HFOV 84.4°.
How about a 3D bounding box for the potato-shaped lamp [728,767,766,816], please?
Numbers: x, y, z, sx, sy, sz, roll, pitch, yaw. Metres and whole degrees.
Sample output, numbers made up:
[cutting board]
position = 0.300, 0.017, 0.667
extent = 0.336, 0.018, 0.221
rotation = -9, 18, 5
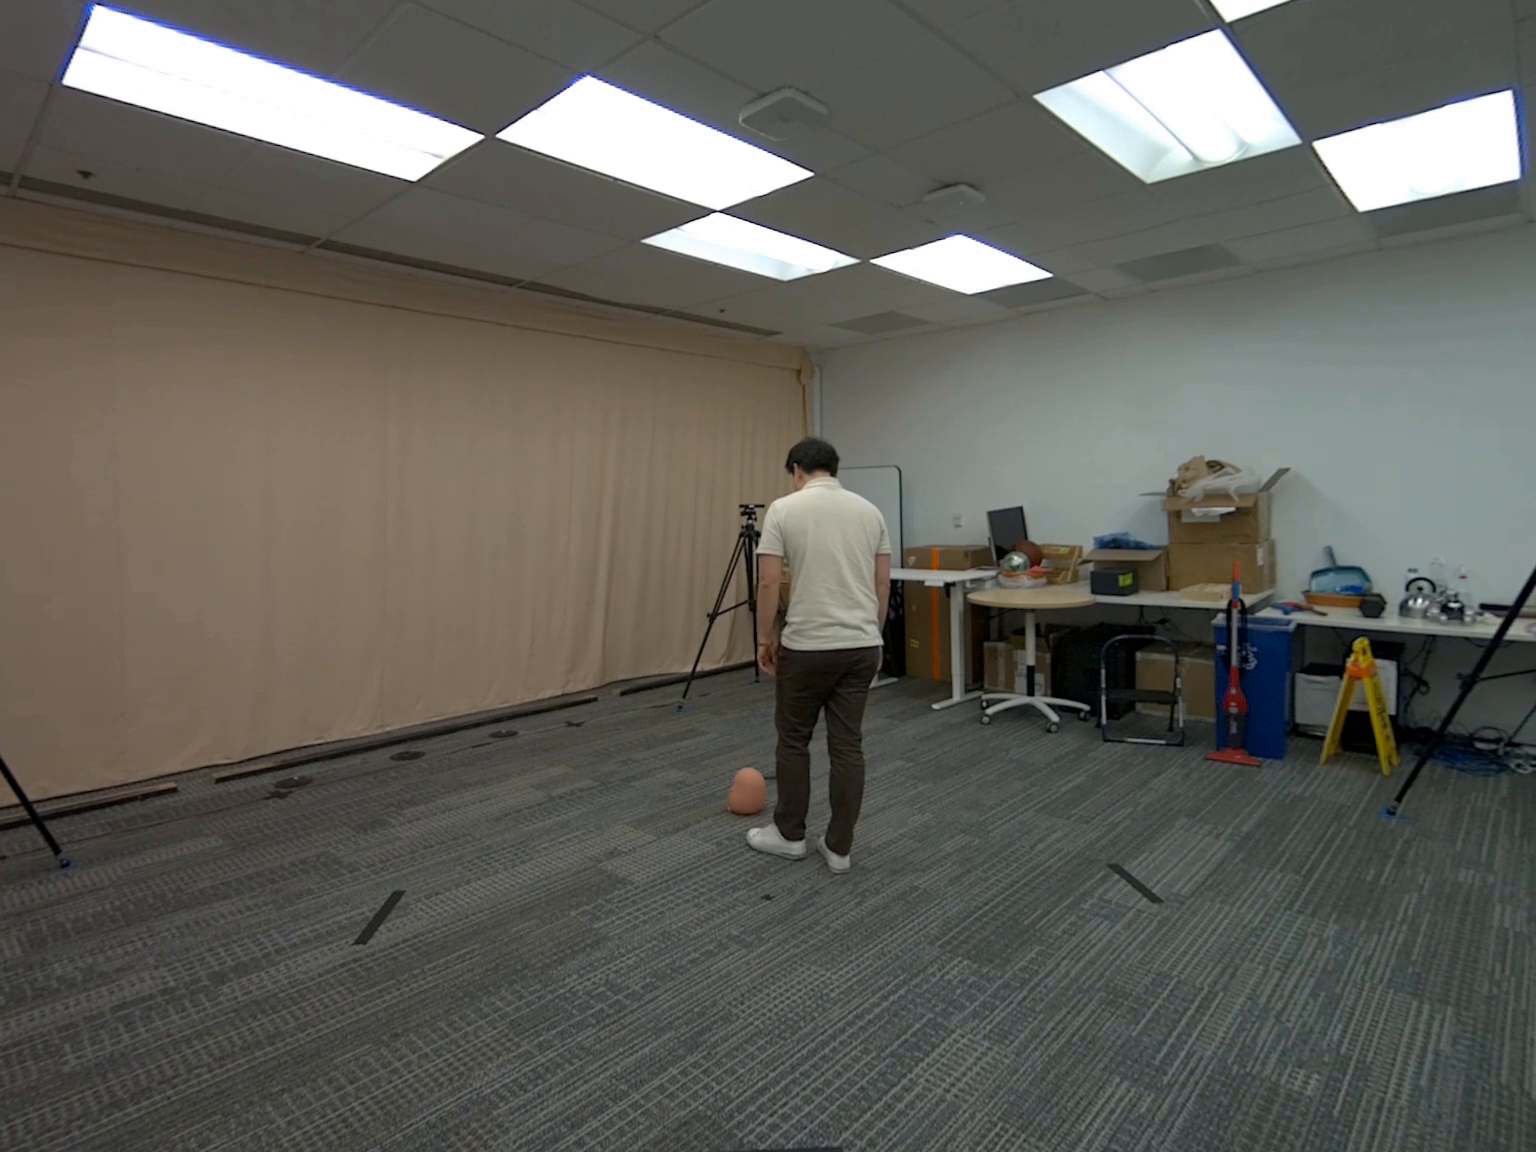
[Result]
[potato-shaped lamp]
position = -0.095, 0.973, 3.829
extent = 0.176, 0.198, 0.160
rotation = -2, 2, 34
